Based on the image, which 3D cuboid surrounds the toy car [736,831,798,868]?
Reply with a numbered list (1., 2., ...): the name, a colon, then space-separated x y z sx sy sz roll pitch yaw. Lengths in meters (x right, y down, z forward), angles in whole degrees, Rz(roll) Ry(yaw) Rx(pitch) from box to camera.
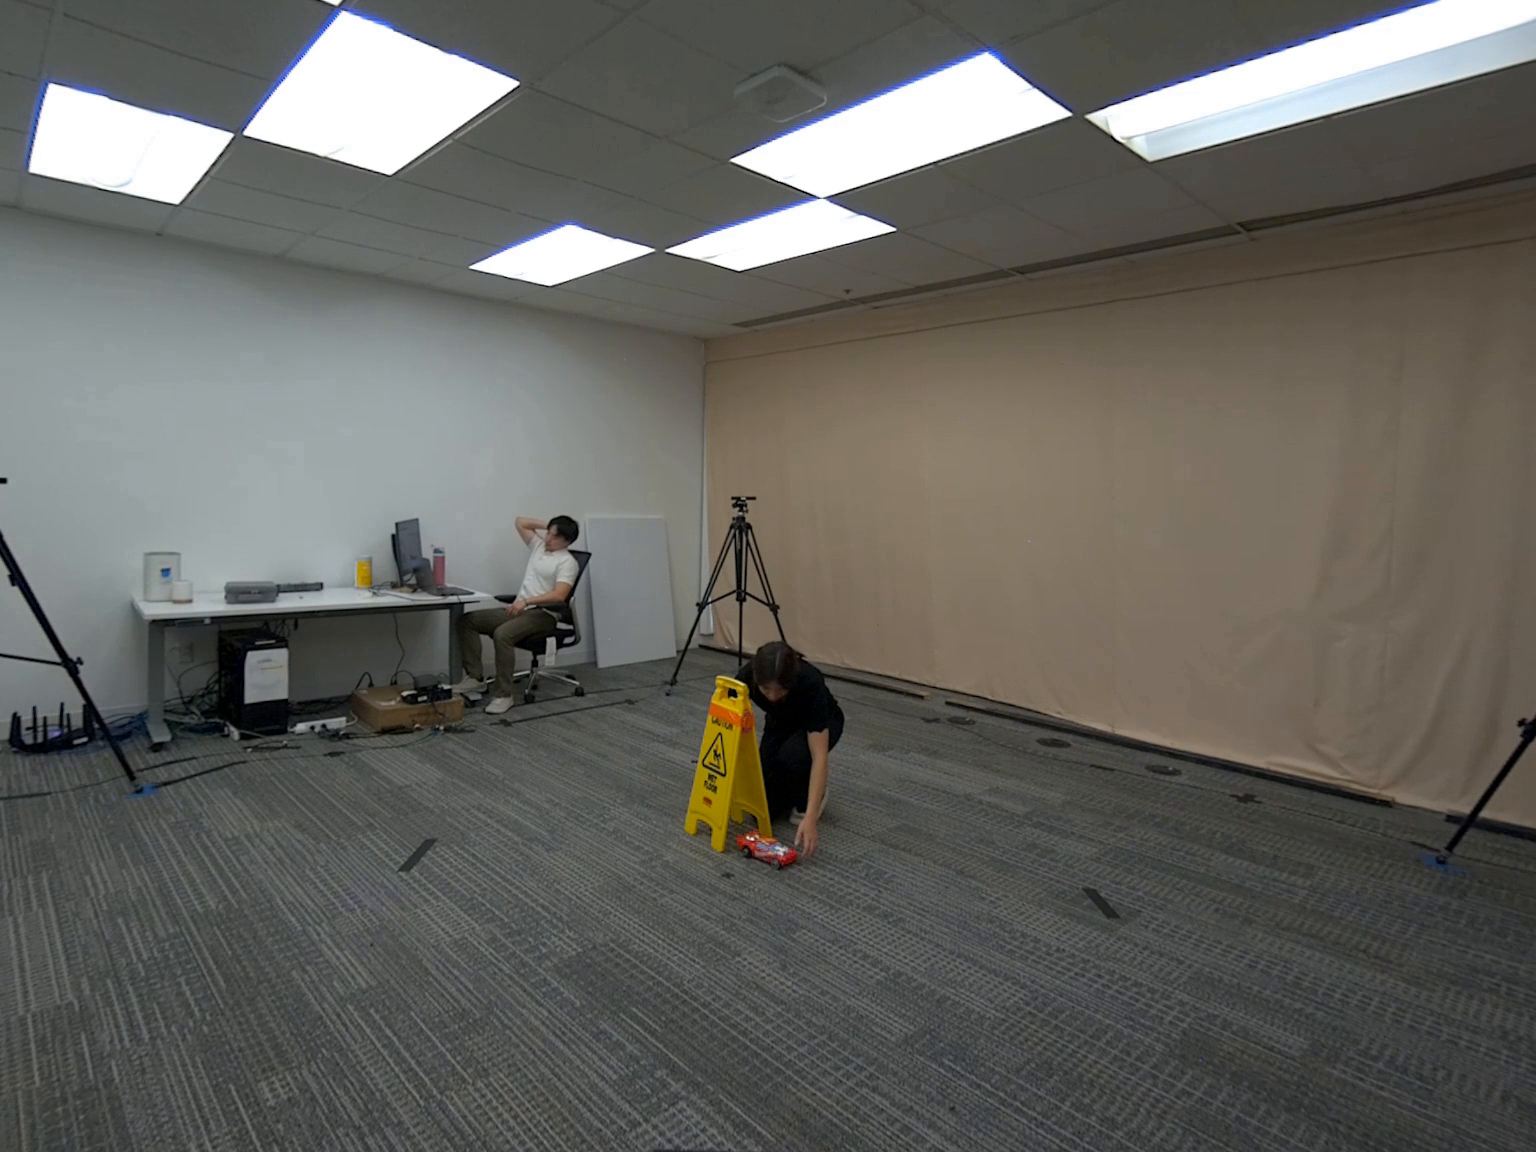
1. toy car: -0.025 1.062 3.266 0.262 0.082 0.127 19 15 40
